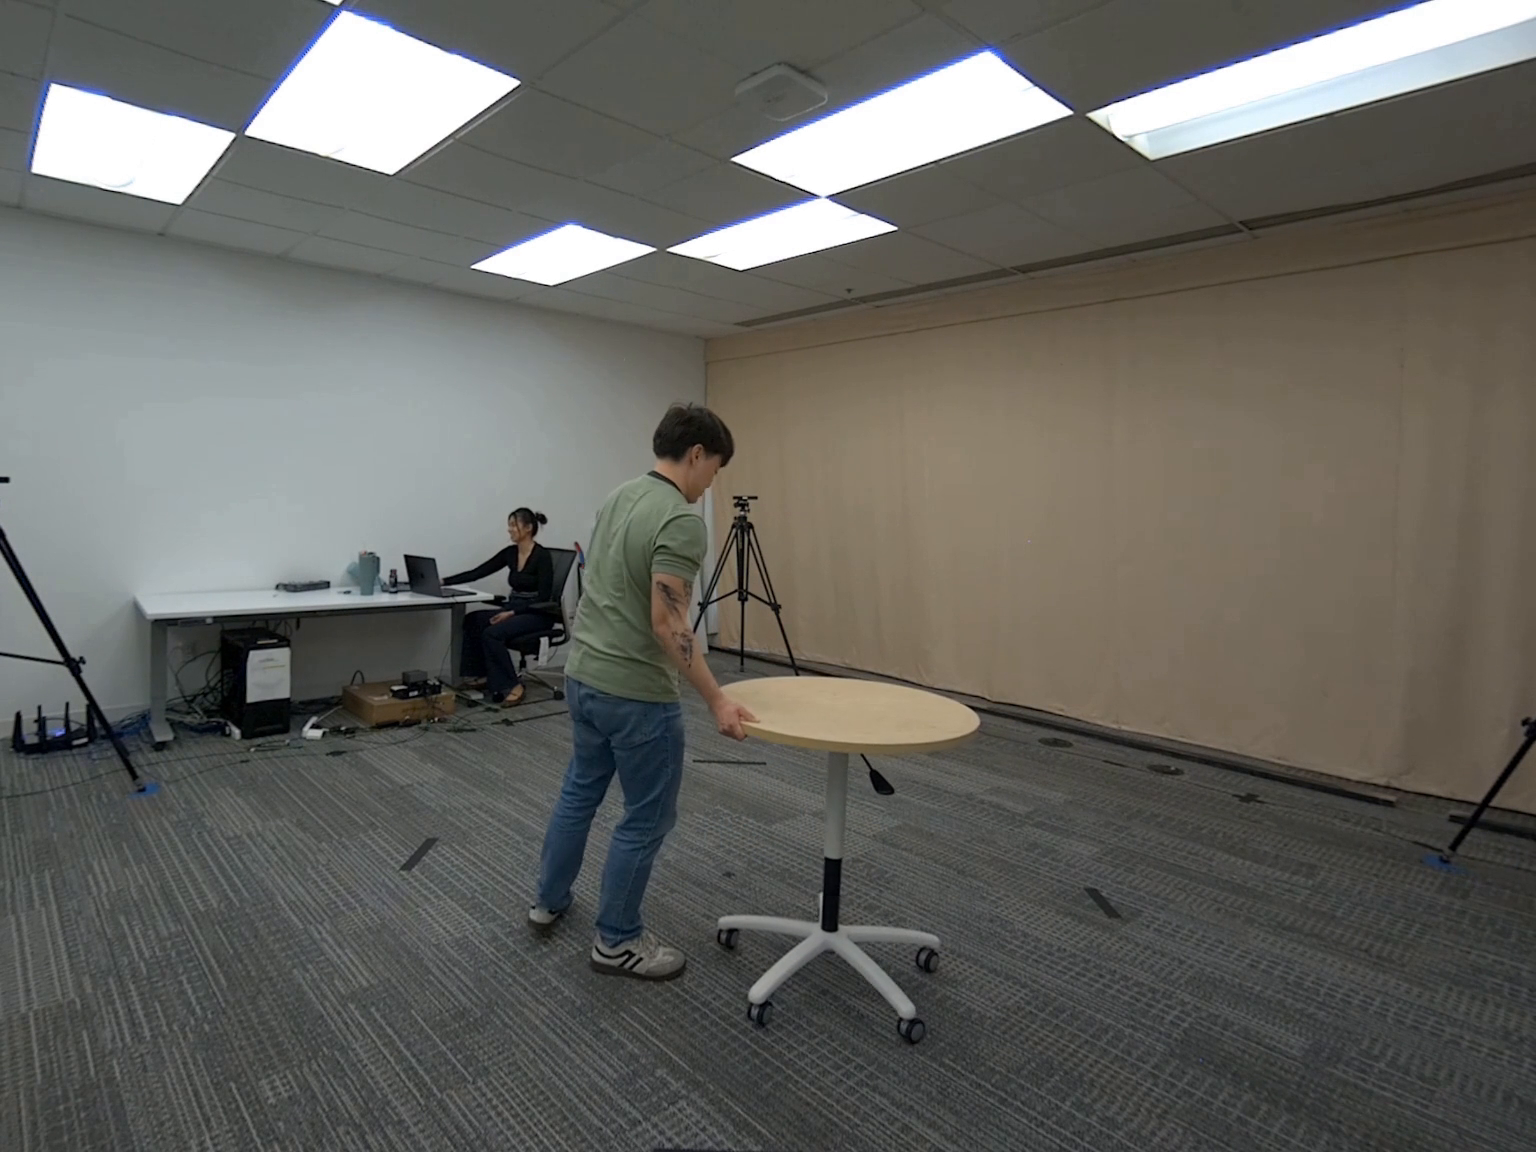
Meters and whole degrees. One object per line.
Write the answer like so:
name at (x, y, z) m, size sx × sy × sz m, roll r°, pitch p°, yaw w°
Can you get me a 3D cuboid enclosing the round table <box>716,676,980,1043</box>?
round table at (0.190, 0.772, 2.436) m, size 0.763 × 0.792 × 0.766 m, roll 3°, pitch 4°, yaw -2°
